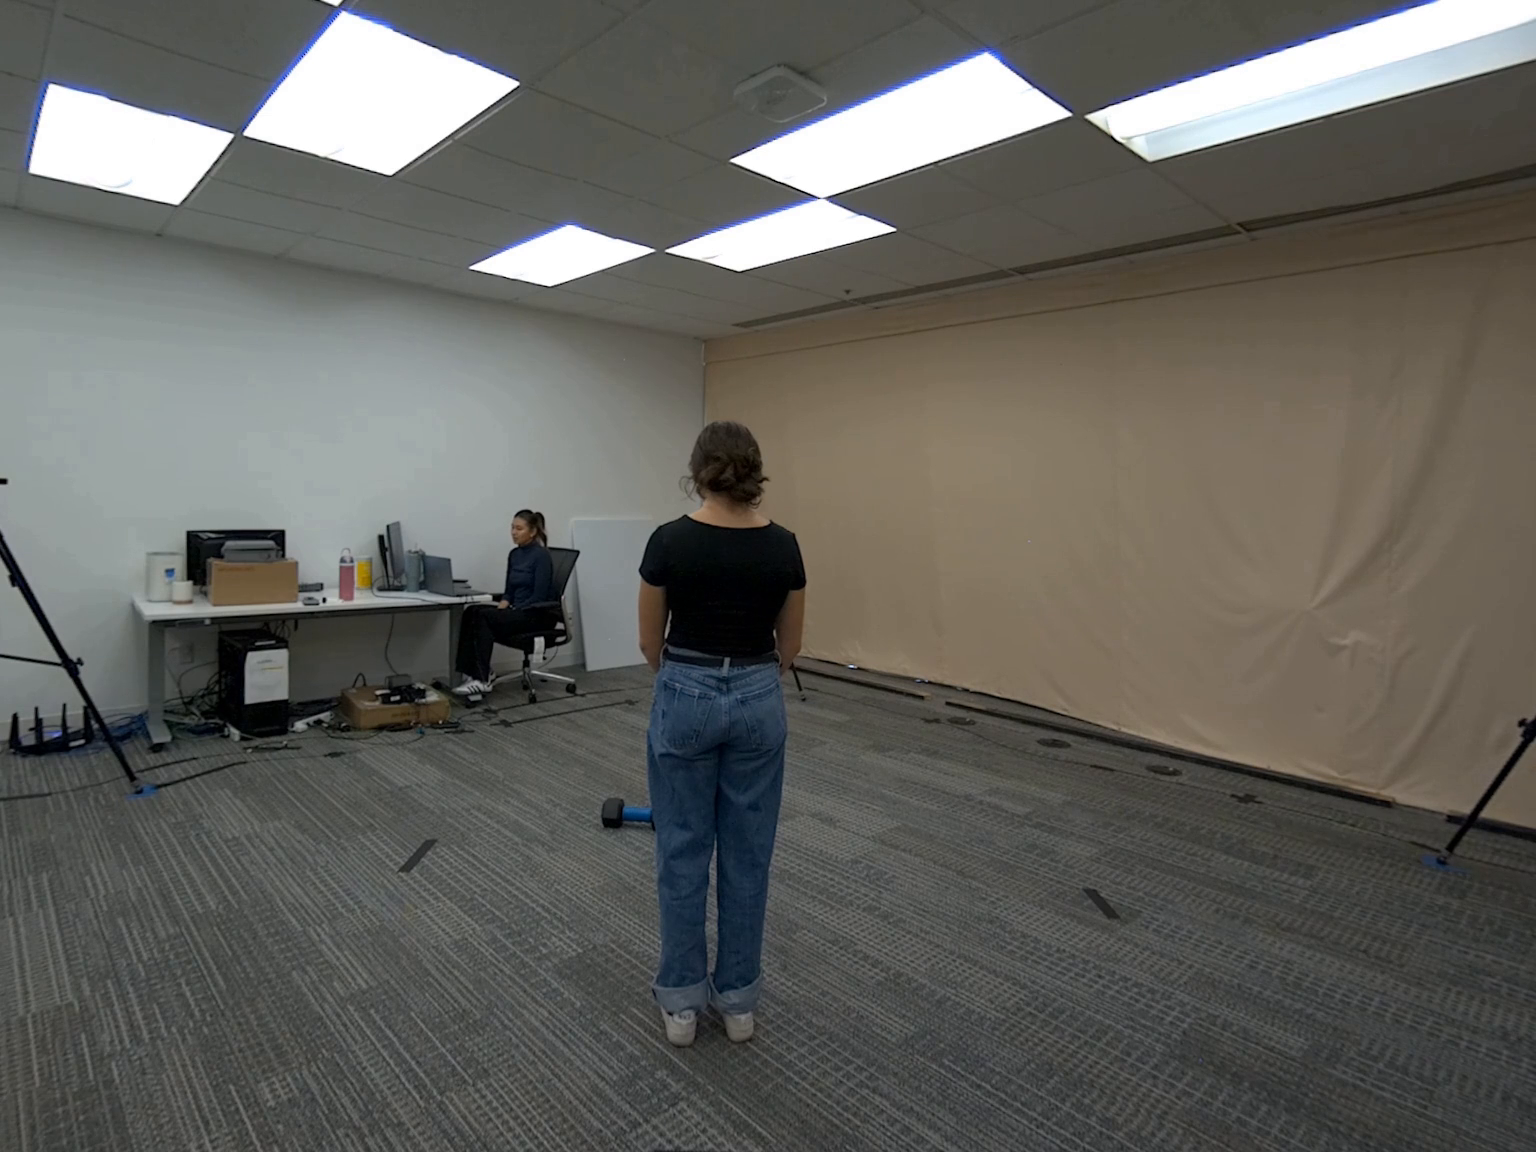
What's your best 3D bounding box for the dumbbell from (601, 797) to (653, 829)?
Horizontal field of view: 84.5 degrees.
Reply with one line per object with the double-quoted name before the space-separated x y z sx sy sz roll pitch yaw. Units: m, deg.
"dumbbell" -0.560 1.008 3.548 0.294 0.125 0.106 2 -25 3
